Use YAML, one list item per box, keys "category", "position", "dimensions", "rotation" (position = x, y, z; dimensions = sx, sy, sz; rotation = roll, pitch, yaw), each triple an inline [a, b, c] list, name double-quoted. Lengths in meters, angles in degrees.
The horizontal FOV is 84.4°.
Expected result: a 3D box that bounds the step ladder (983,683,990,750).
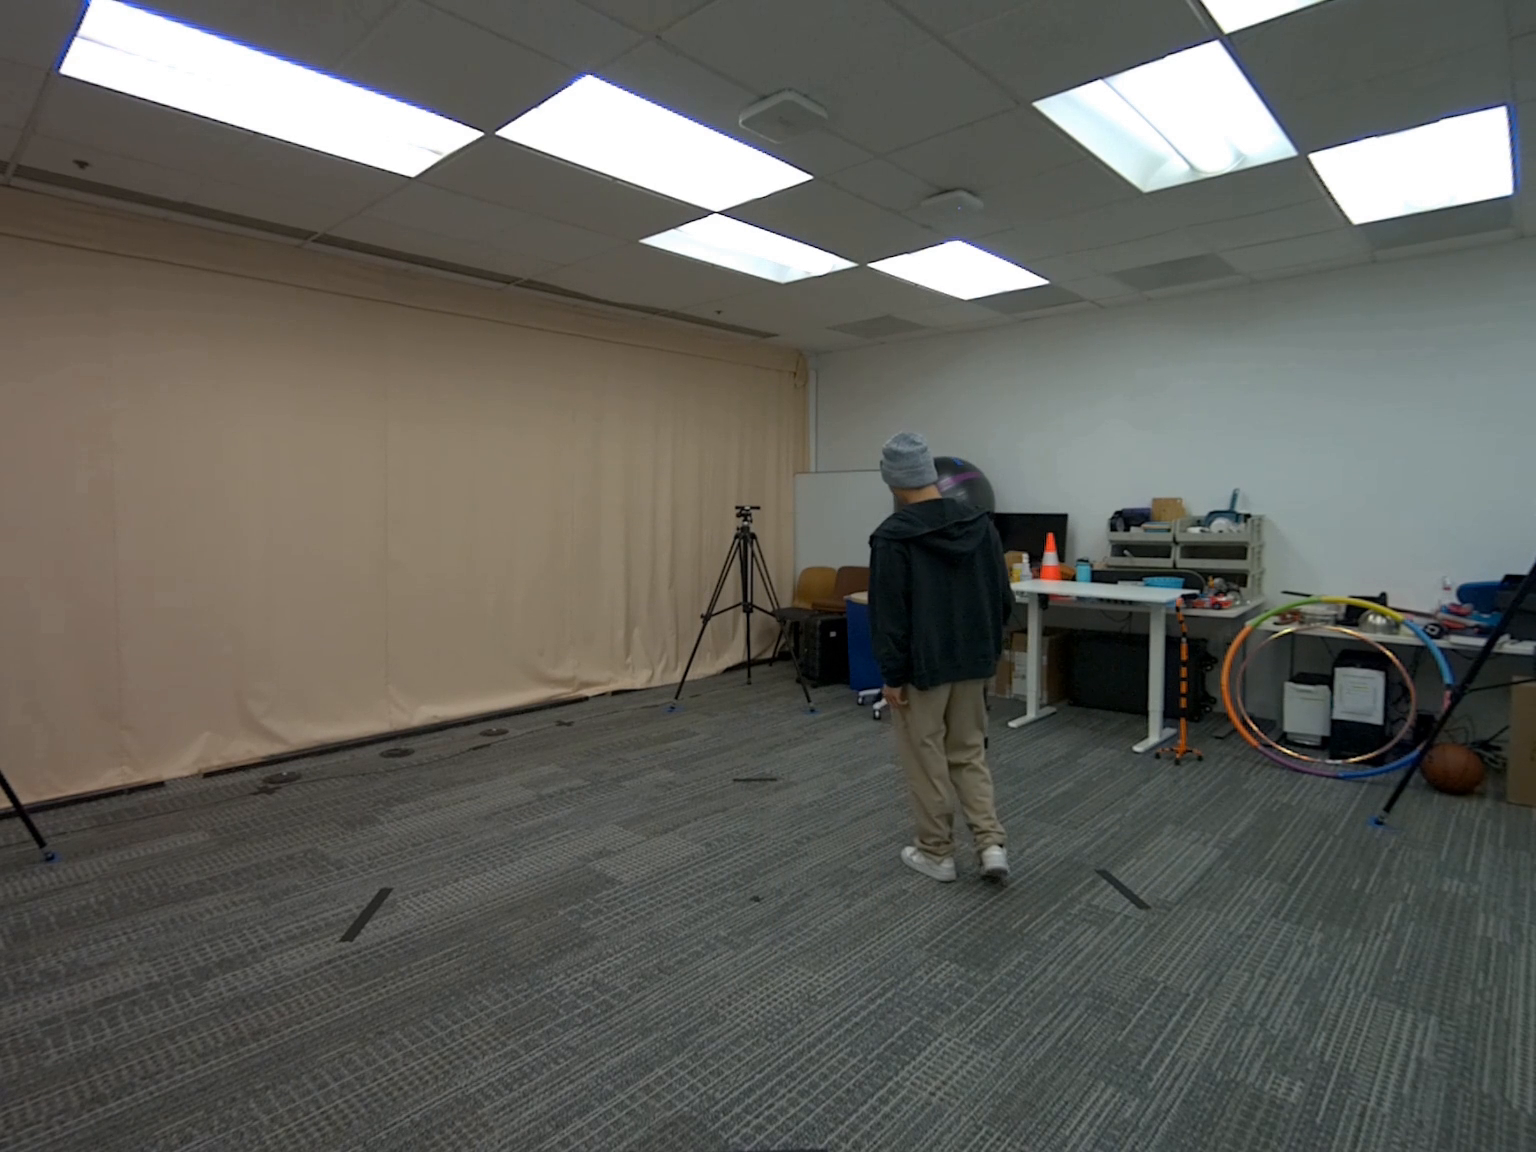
- category: "step ladder"
  position: [0.753, 0.427, 3.562]
  dimensions: [0.343, 0.596, 0.445]
  rotation: [-11, 41, -20]
